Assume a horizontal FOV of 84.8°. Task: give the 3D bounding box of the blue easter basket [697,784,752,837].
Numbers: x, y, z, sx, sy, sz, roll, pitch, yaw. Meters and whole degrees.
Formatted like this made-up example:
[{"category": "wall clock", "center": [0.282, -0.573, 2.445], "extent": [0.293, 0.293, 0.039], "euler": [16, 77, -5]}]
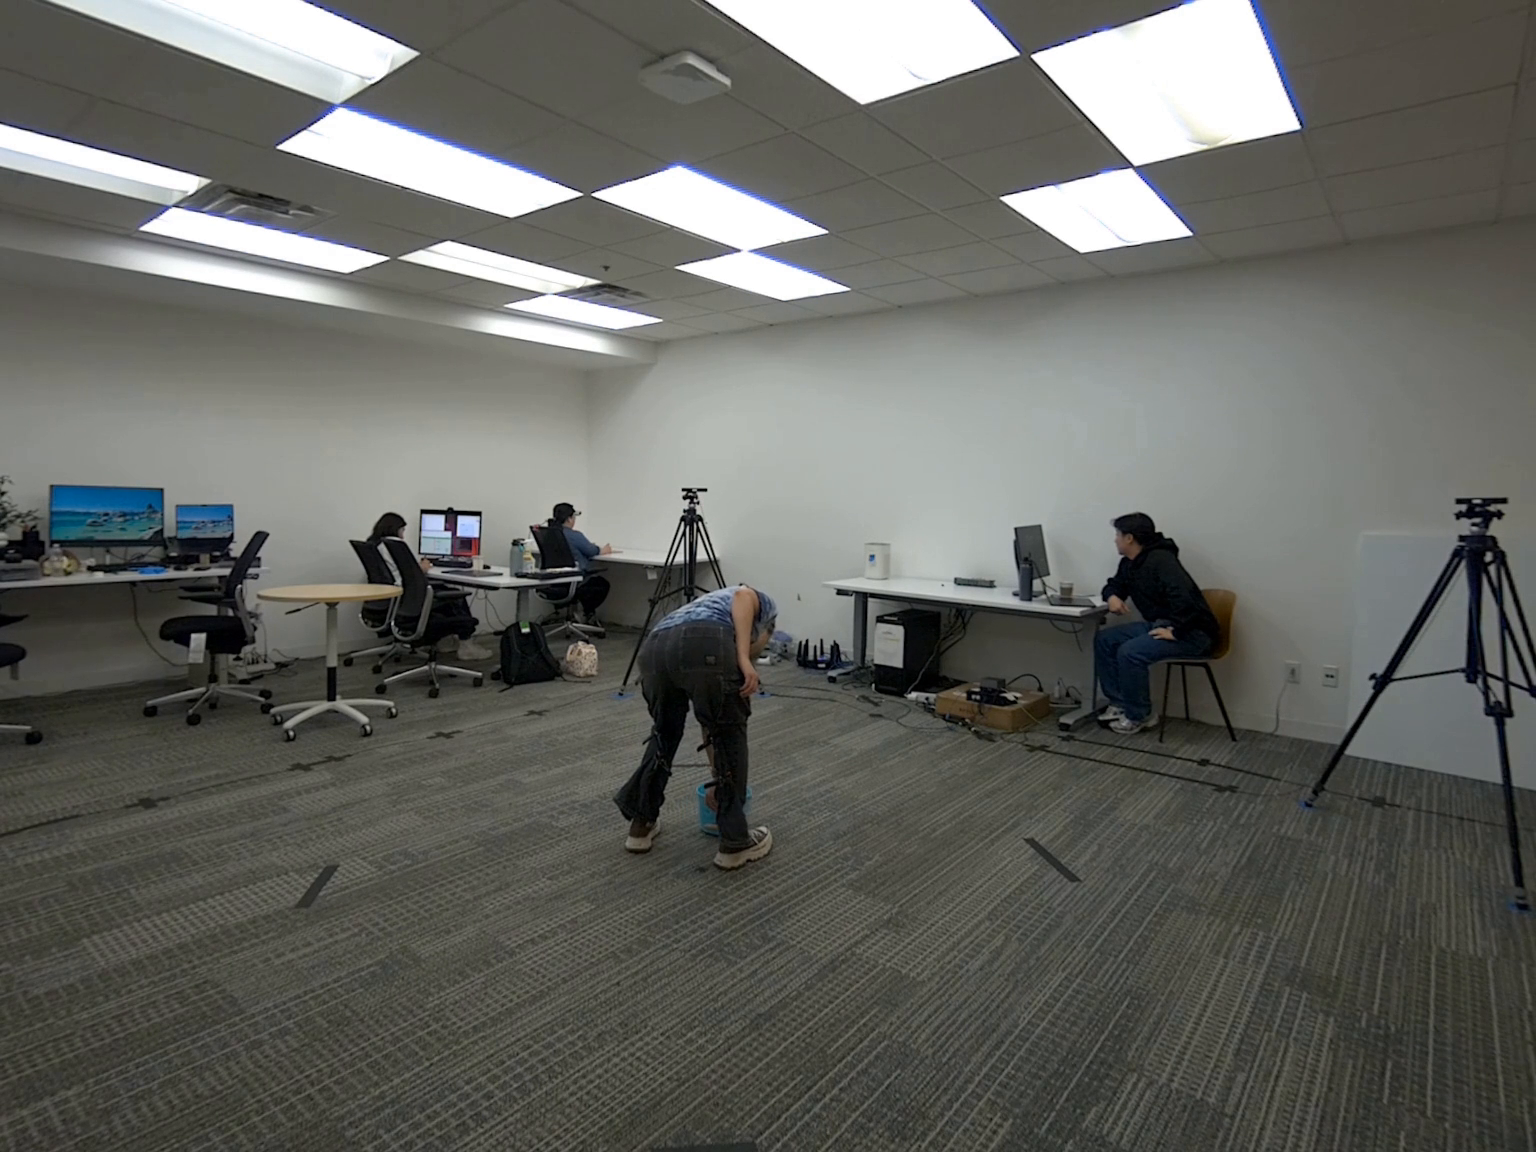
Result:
[{"category": "blue easter basket", "center": [-0.196, 0.951, 3.491], "extent": [0.243, 0.156, 0.244], "euler": [2, 1, -2]}]
